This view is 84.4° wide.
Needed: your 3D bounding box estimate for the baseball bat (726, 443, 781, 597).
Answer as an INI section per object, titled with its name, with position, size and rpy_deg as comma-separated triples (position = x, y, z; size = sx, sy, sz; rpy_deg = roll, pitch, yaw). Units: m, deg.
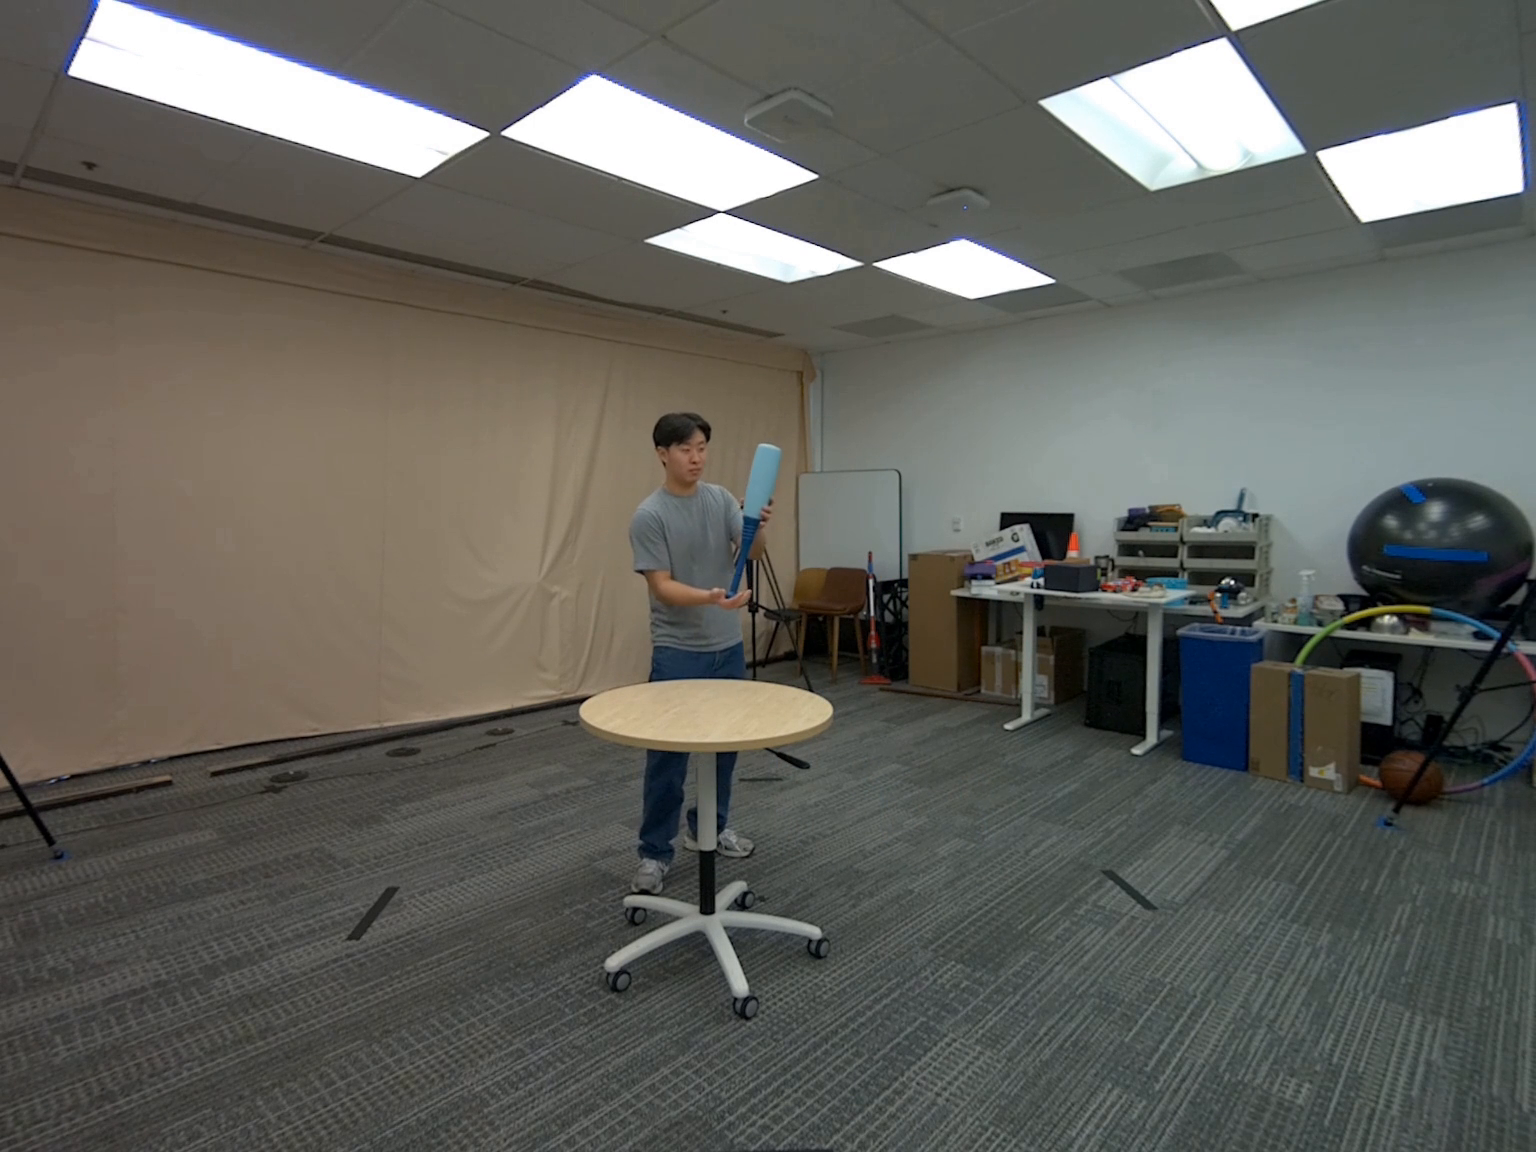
[baseball bat]
position = -0.053, -0.177, 2.857
size = 0.089, 0.542, 0.089
rpy_deg = 14, 5, -3
